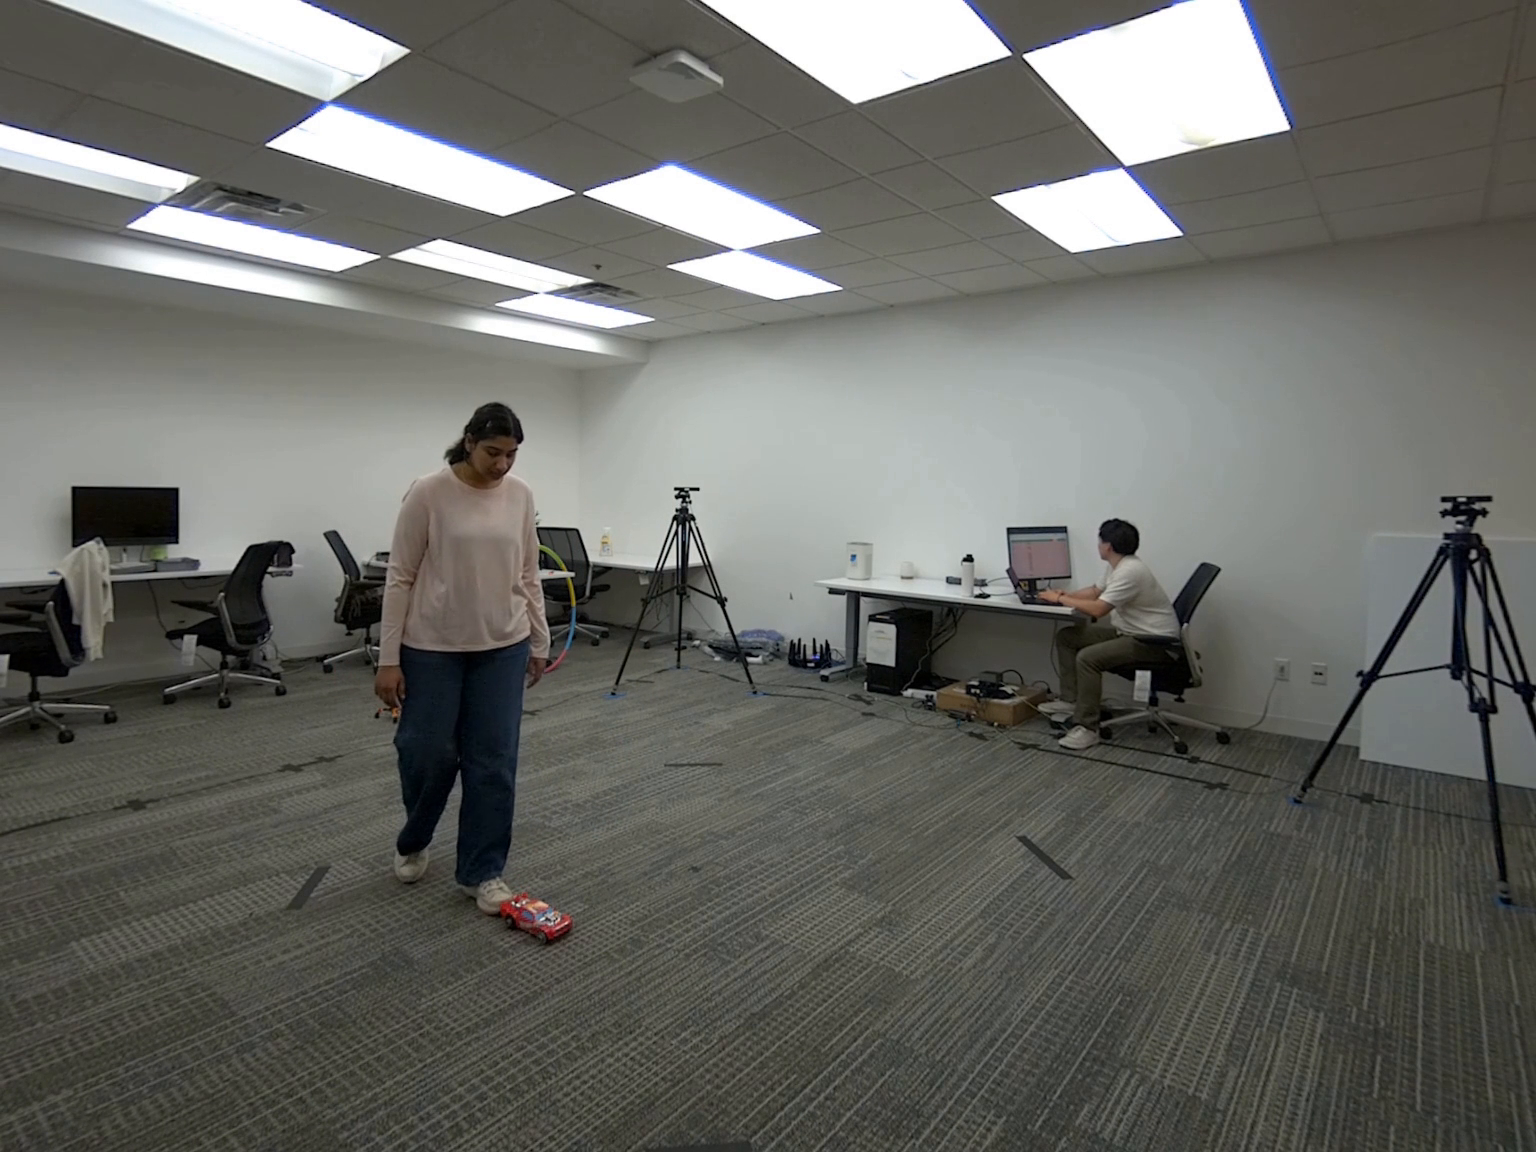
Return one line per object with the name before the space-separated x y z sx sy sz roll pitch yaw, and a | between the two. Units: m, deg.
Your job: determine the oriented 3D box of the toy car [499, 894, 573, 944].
toy car | -0.745 1.071 2.668 0.264 0.082 0.127 16 13 33
